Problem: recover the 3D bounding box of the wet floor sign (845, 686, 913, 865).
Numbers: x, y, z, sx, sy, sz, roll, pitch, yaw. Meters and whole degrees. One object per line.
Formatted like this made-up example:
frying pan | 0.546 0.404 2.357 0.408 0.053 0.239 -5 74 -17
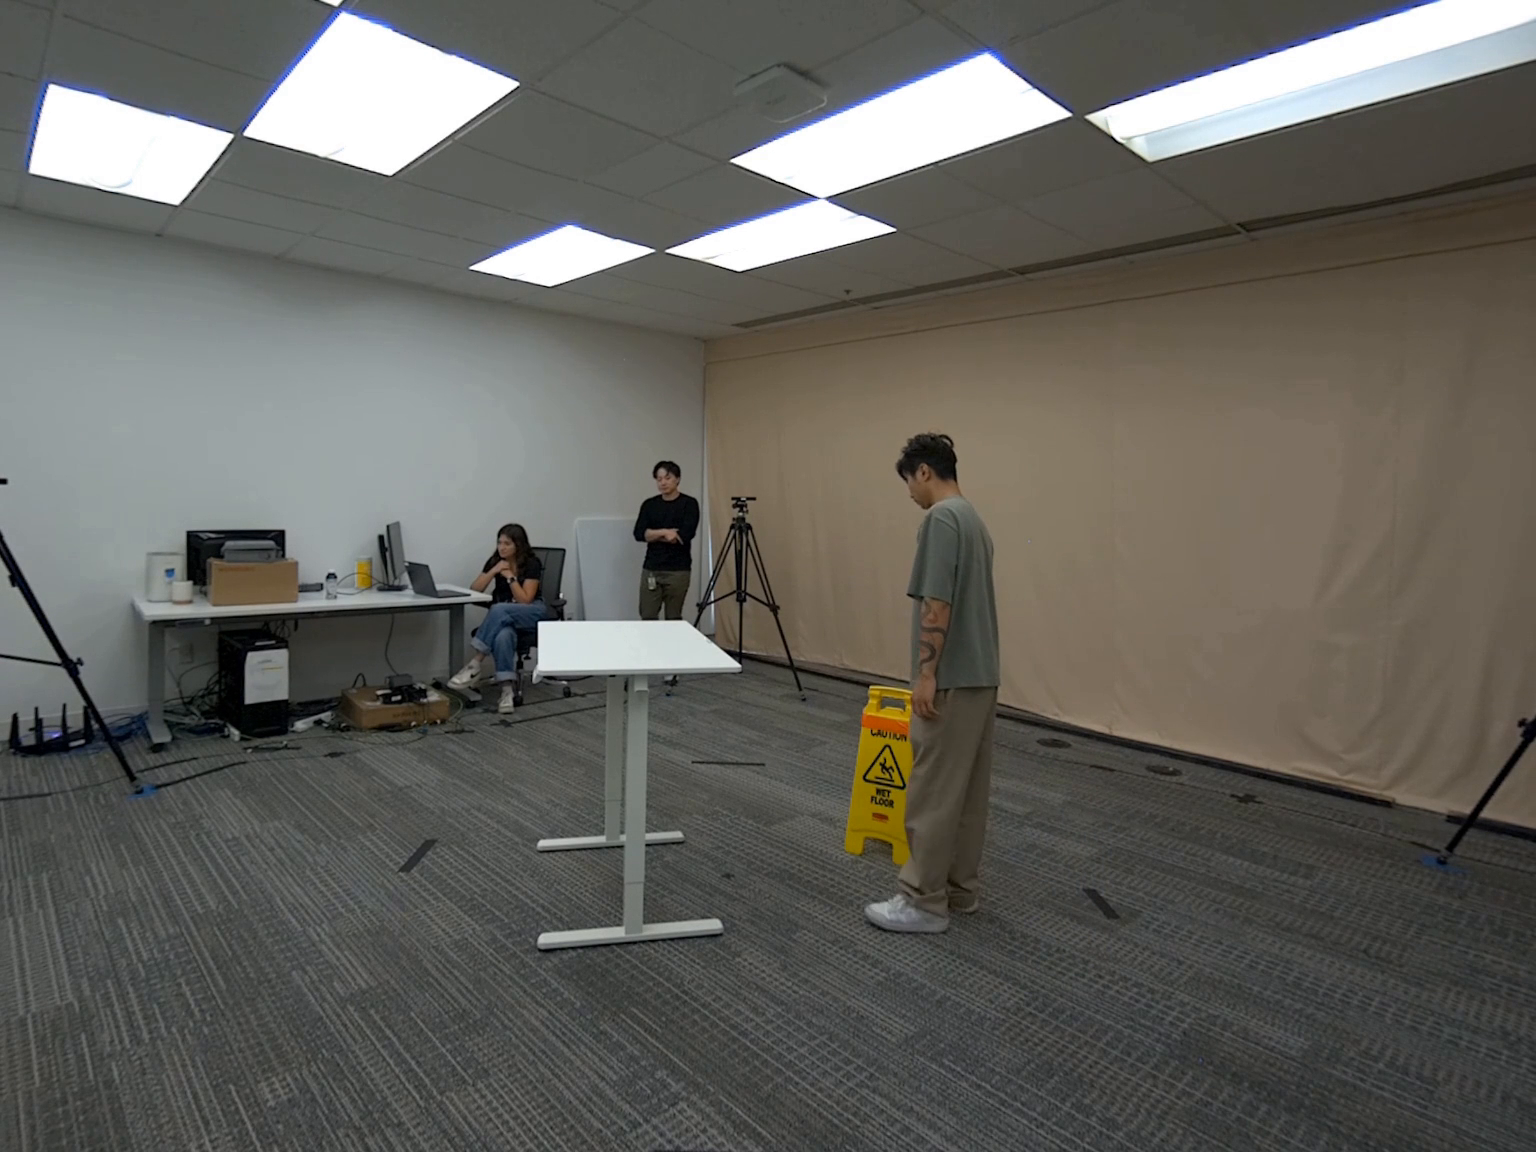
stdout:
wet floor sign | 0.483 0.774 3.376 0.288 0.644 0.284 4 4 28
